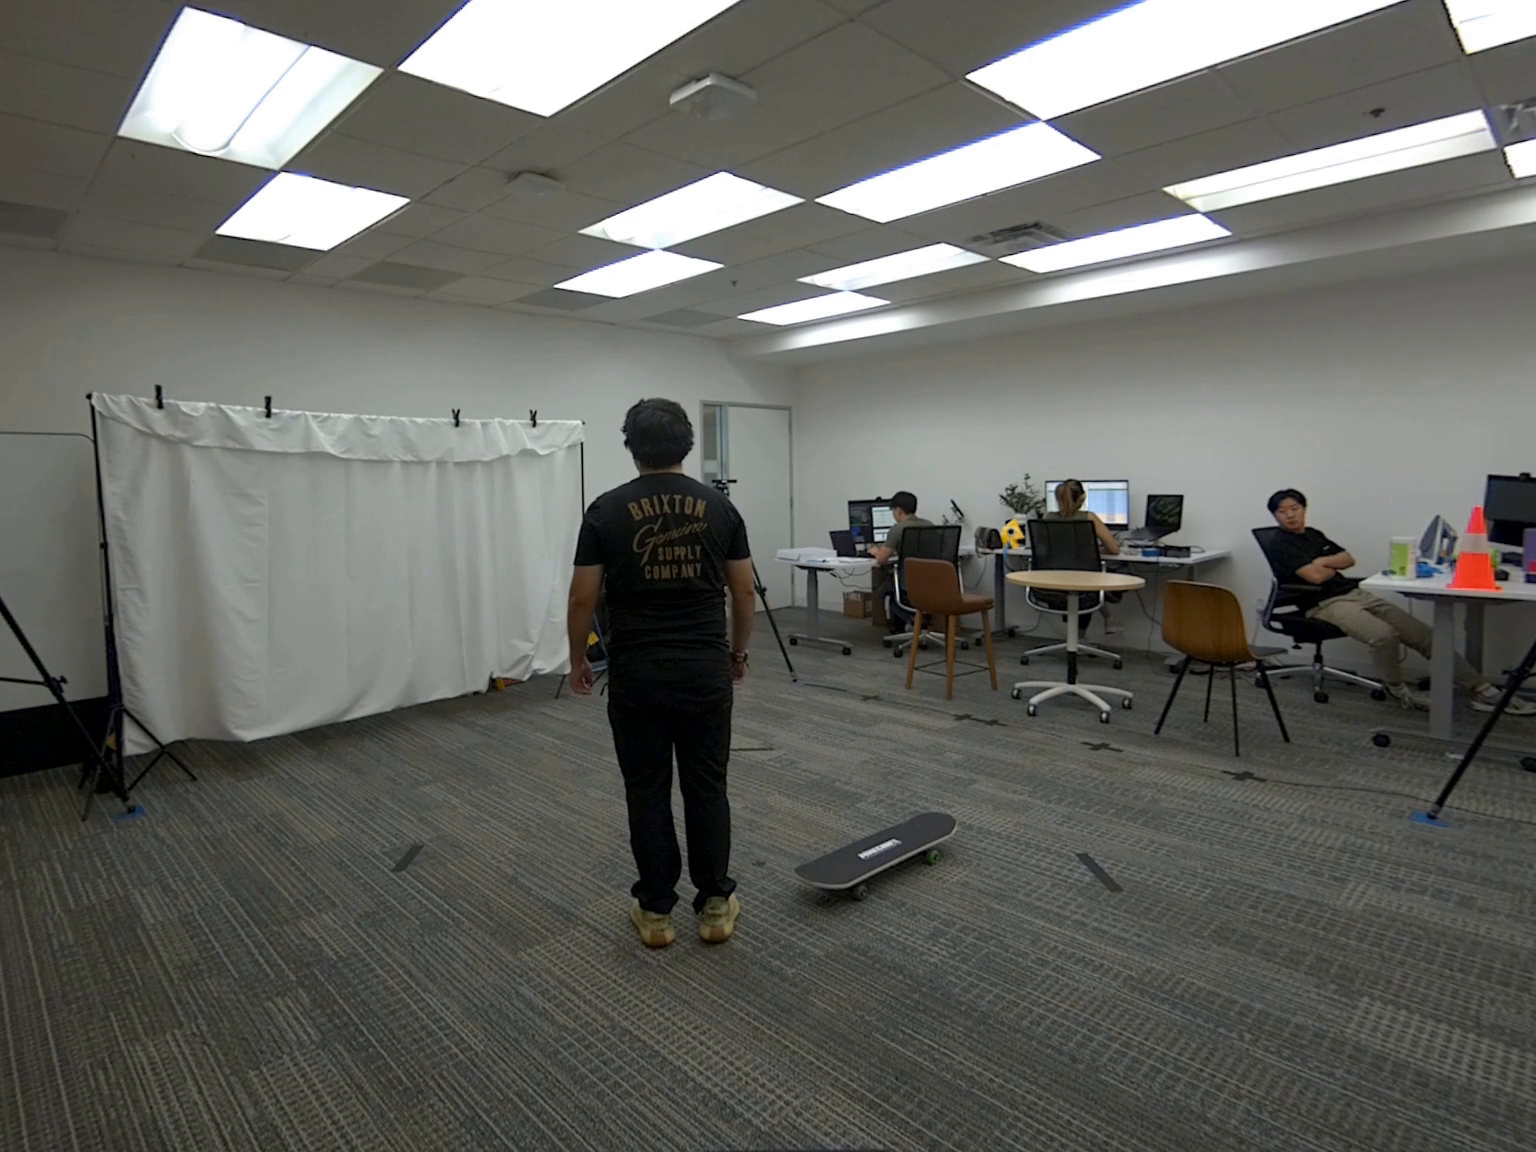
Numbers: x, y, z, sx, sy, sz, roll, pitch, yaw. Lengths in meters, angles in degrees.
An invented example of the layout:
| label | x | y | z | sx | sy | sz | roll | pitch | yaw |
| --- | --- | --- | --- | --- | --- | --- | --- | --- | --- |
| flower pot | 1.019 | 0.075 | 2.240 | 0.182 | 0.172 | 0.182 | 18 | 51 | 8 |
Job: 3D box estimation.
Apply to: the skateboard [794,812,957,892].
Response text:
| label | x | y | z | sx | sy | sz | roll | pitch | yaw |
| --- | --- | --- | --- | --- | --- | --- | --- | --- | --- |
| skateboard | 0.399 | 0.995 | 3.012 | 0.765 | 0.110 | 0.199 | -7 | 8 | -42 |
